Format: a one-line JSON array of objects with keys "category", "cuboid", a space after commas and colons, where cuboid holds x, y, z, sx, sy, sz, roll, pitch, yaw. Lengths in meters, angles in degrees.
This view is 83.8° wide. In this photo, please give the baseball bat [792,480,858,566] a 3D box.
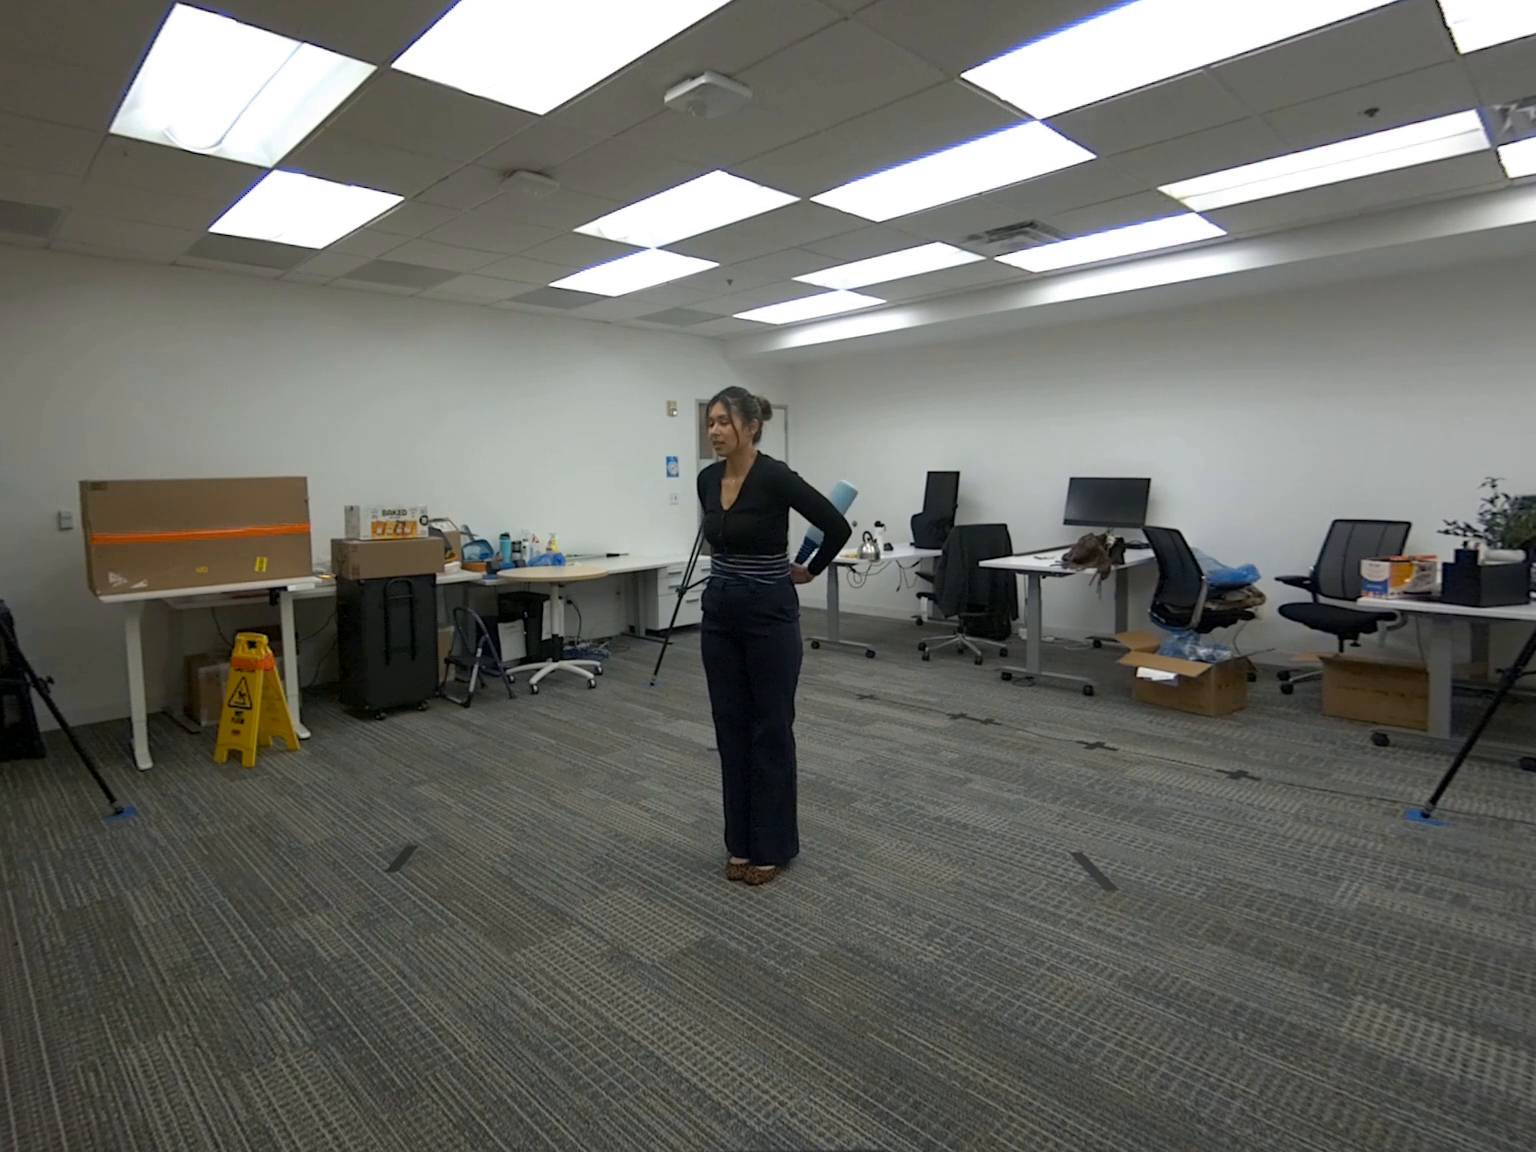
[{"category": "baseball bat", "cuboid": [0.160, -0.111, 3.168, 0.088, 0.542, 0.090, 32, 6, -6]}]
